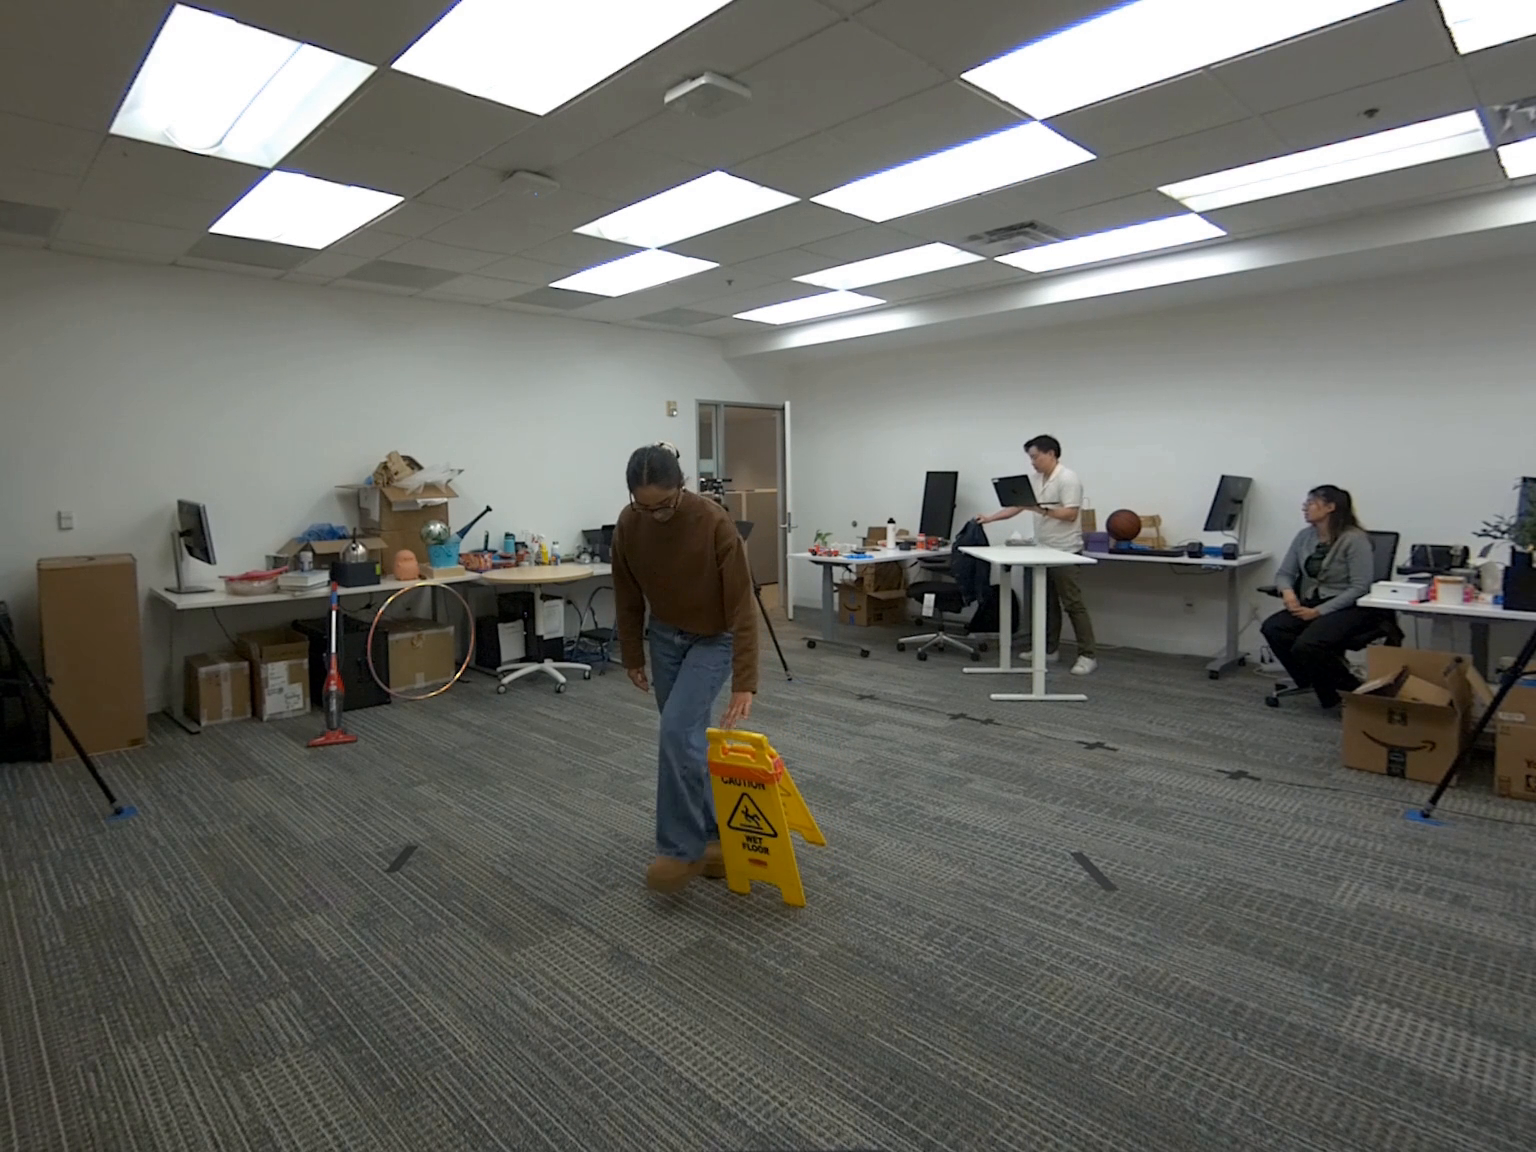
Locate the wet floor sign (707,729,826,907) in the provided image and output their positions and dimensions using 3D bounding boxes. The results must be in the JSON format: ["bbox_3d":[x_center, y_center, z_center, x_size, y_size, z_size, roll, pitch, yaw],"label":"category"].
[{"bbox_3d":[-0.028,0.743,2.766,0.289,0.627,0.292,0,35,25],"label":"wet floor sign"}]
